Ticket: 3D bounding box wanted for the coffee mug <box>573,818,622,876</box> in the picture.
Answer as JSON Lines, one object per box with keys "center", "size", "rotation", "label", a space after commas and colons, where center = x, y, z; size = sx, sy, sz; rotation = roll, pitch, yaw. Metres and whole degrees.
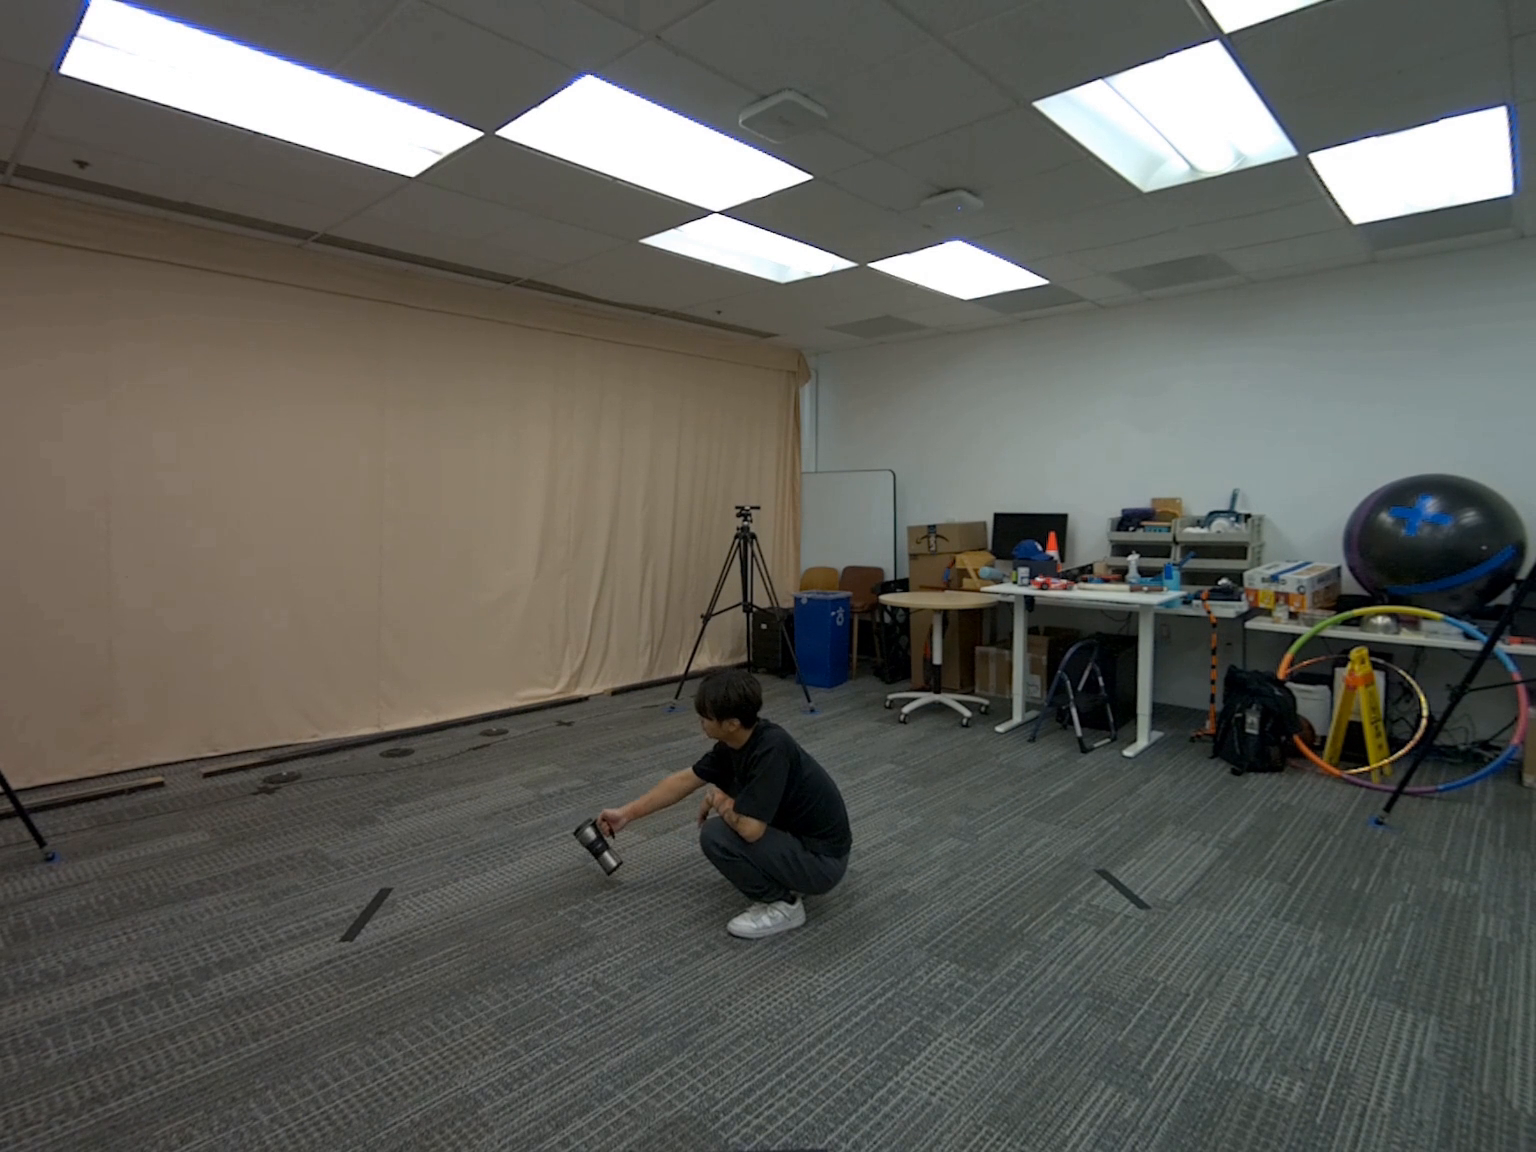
{"center": [-0.614, 0.976, 3.072], "size": [0.123, 0.207, 0.086], "rotation": [-47, -17, 25], "label": "coffee mug"}
